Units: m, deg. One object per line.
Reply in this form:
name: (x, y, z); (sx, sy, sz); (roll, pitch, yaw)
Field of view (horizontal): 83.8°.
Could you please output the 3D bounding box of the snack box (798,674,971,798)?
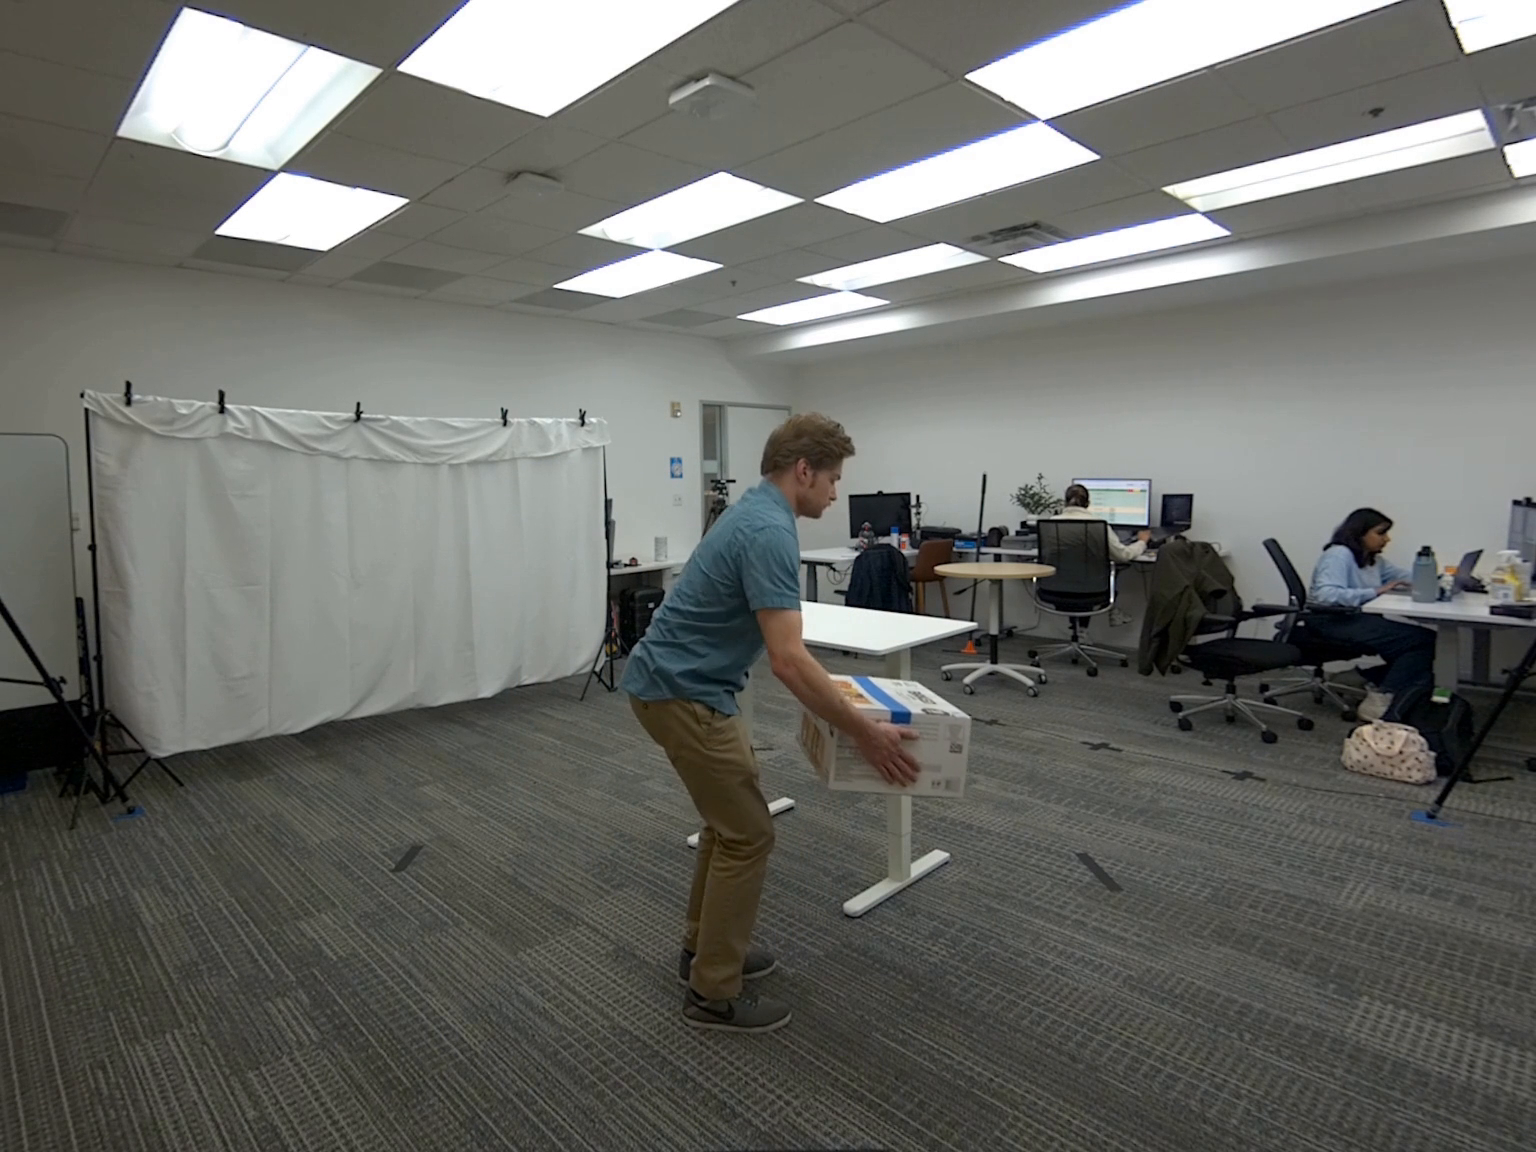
snack box: (0.283, 0.416, 2.256); (0.338, 0.205, 0.409); (4, 4, -8)
